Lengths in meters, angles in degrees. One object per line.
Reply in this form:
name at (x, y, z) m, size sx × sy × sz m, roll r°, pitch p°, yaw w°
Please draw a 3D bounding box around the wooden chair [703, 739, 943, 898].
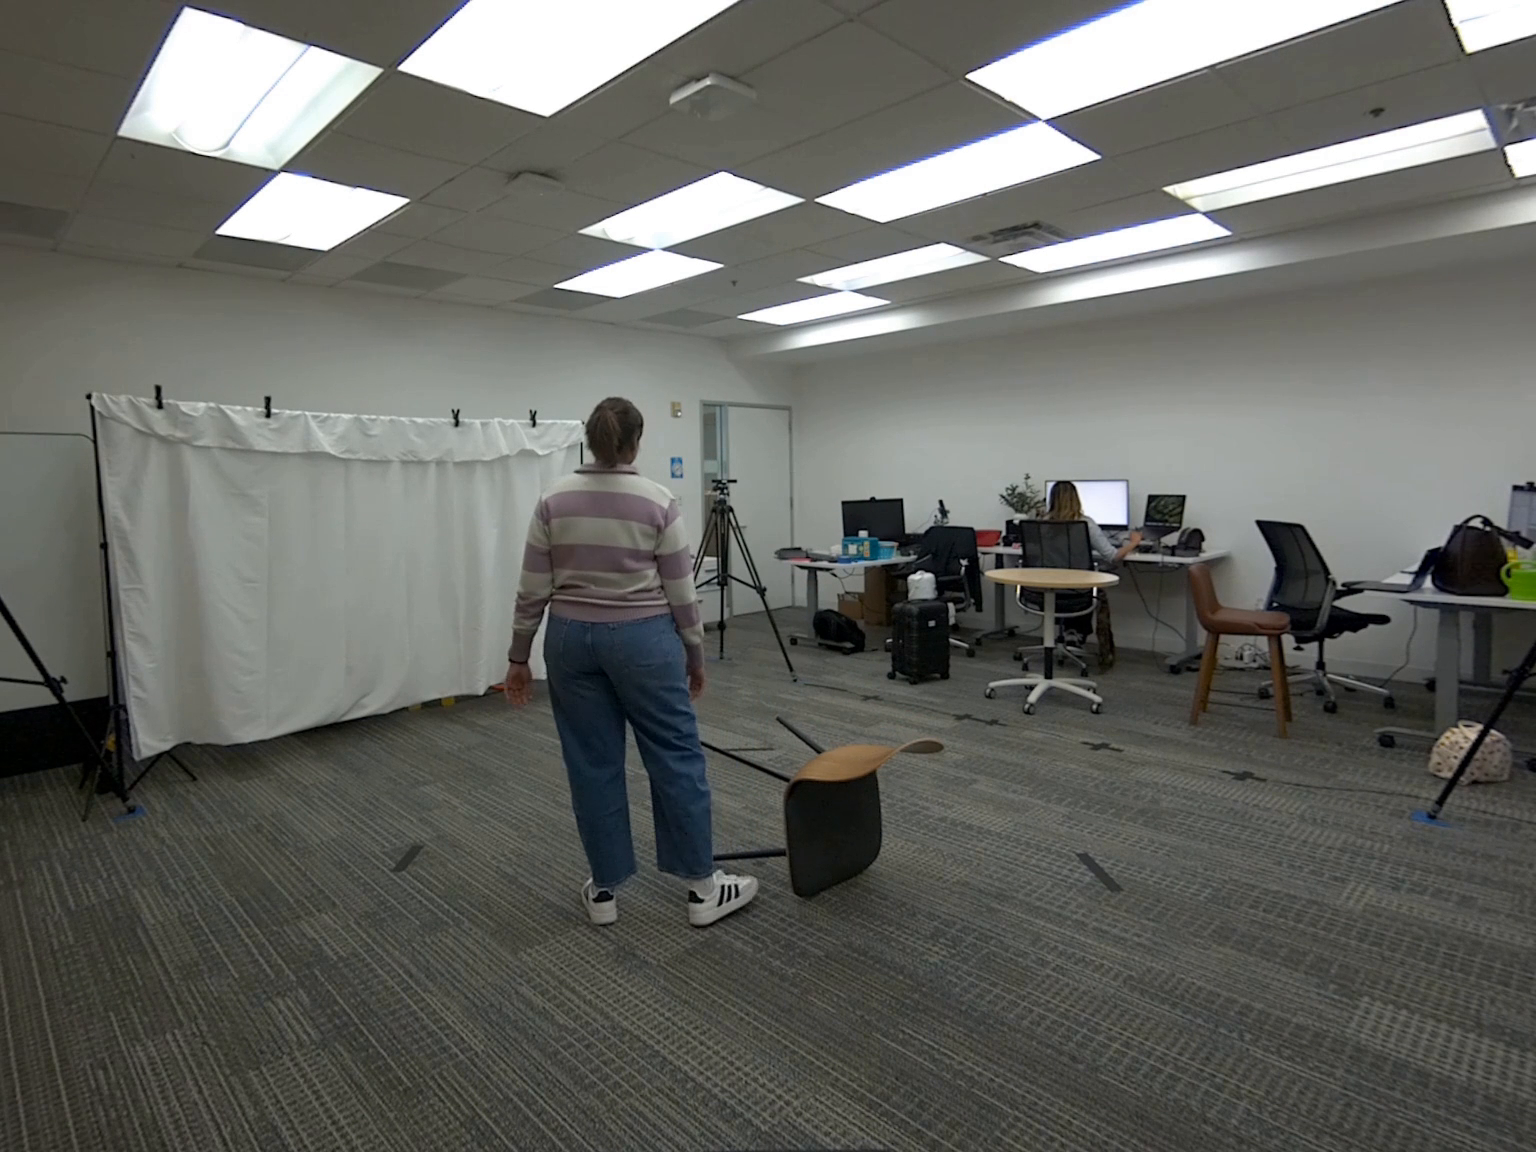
wooden chair at (0.198, 0.807, 2.954) m, size 0.465 × 0.524 × 0.899 m, roll -4°, pitch -2°, yaw -43°
